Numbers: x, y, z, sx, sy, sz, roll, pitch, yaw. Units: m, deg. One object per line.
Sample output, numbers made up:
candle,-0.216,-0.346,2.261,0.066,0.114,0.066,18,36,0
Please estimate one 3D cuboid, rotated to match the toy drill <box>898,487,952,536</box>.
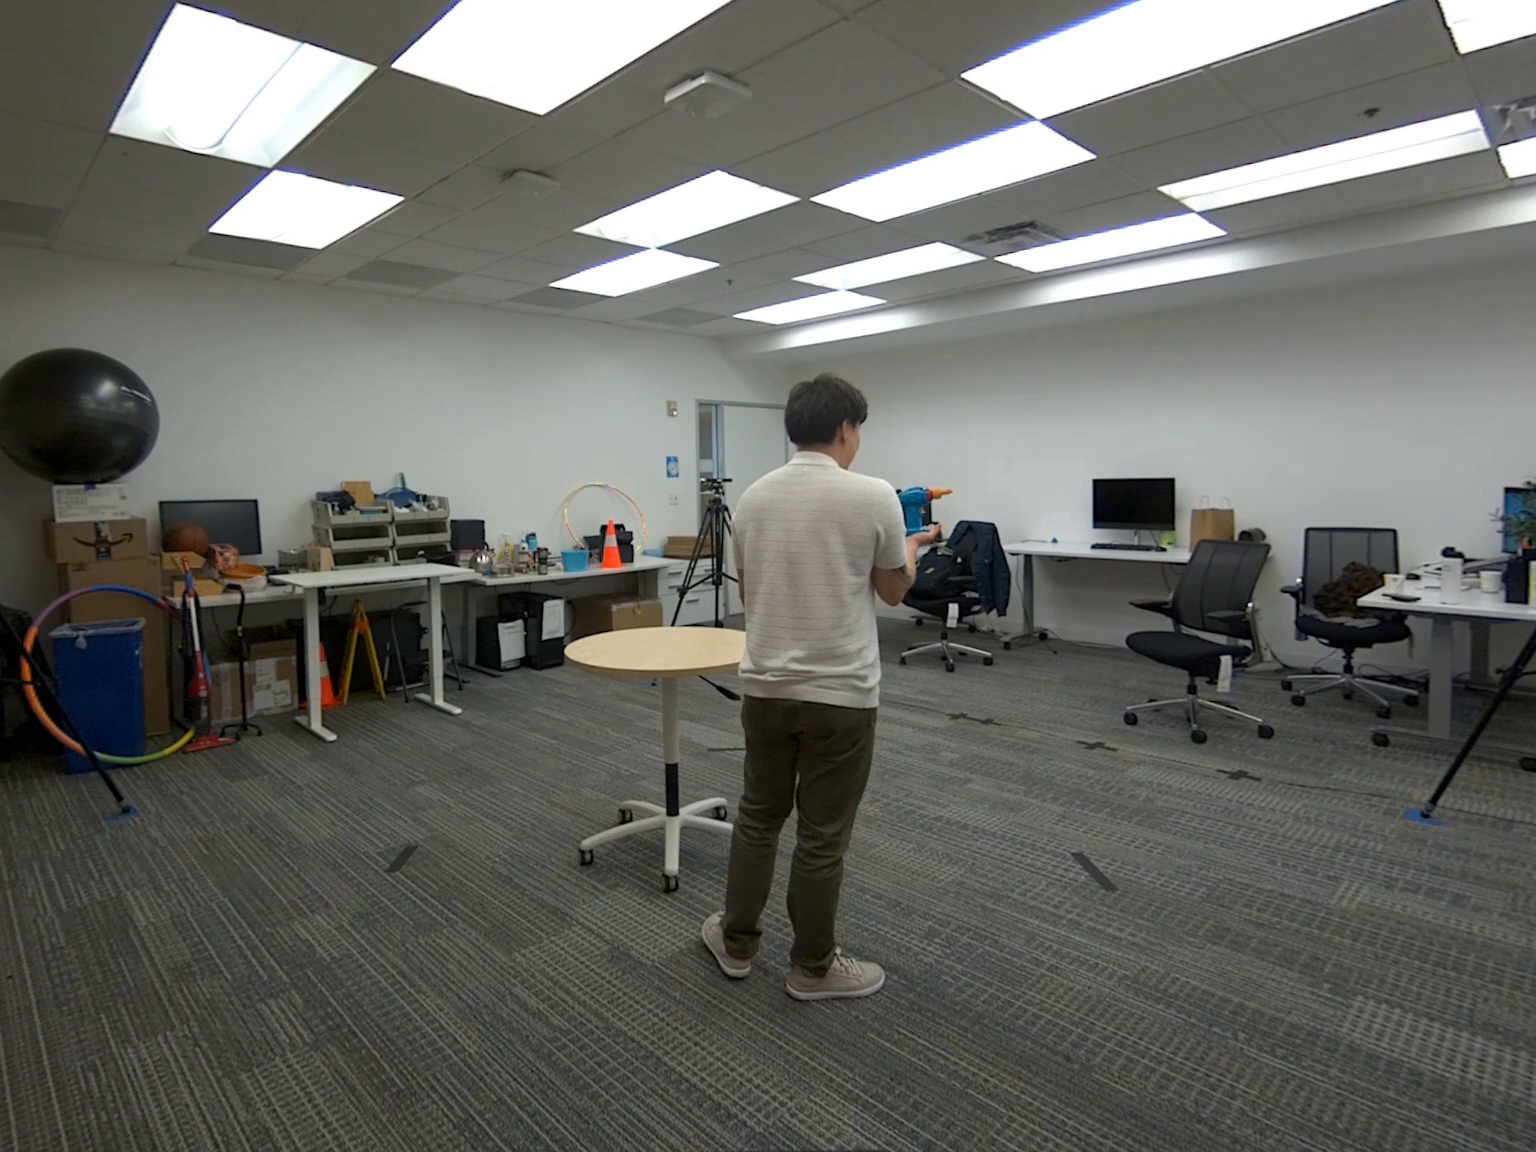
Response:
toy drill,0.461,-0.199,2.522,0.172,0.146,0.060,-10,1,16
